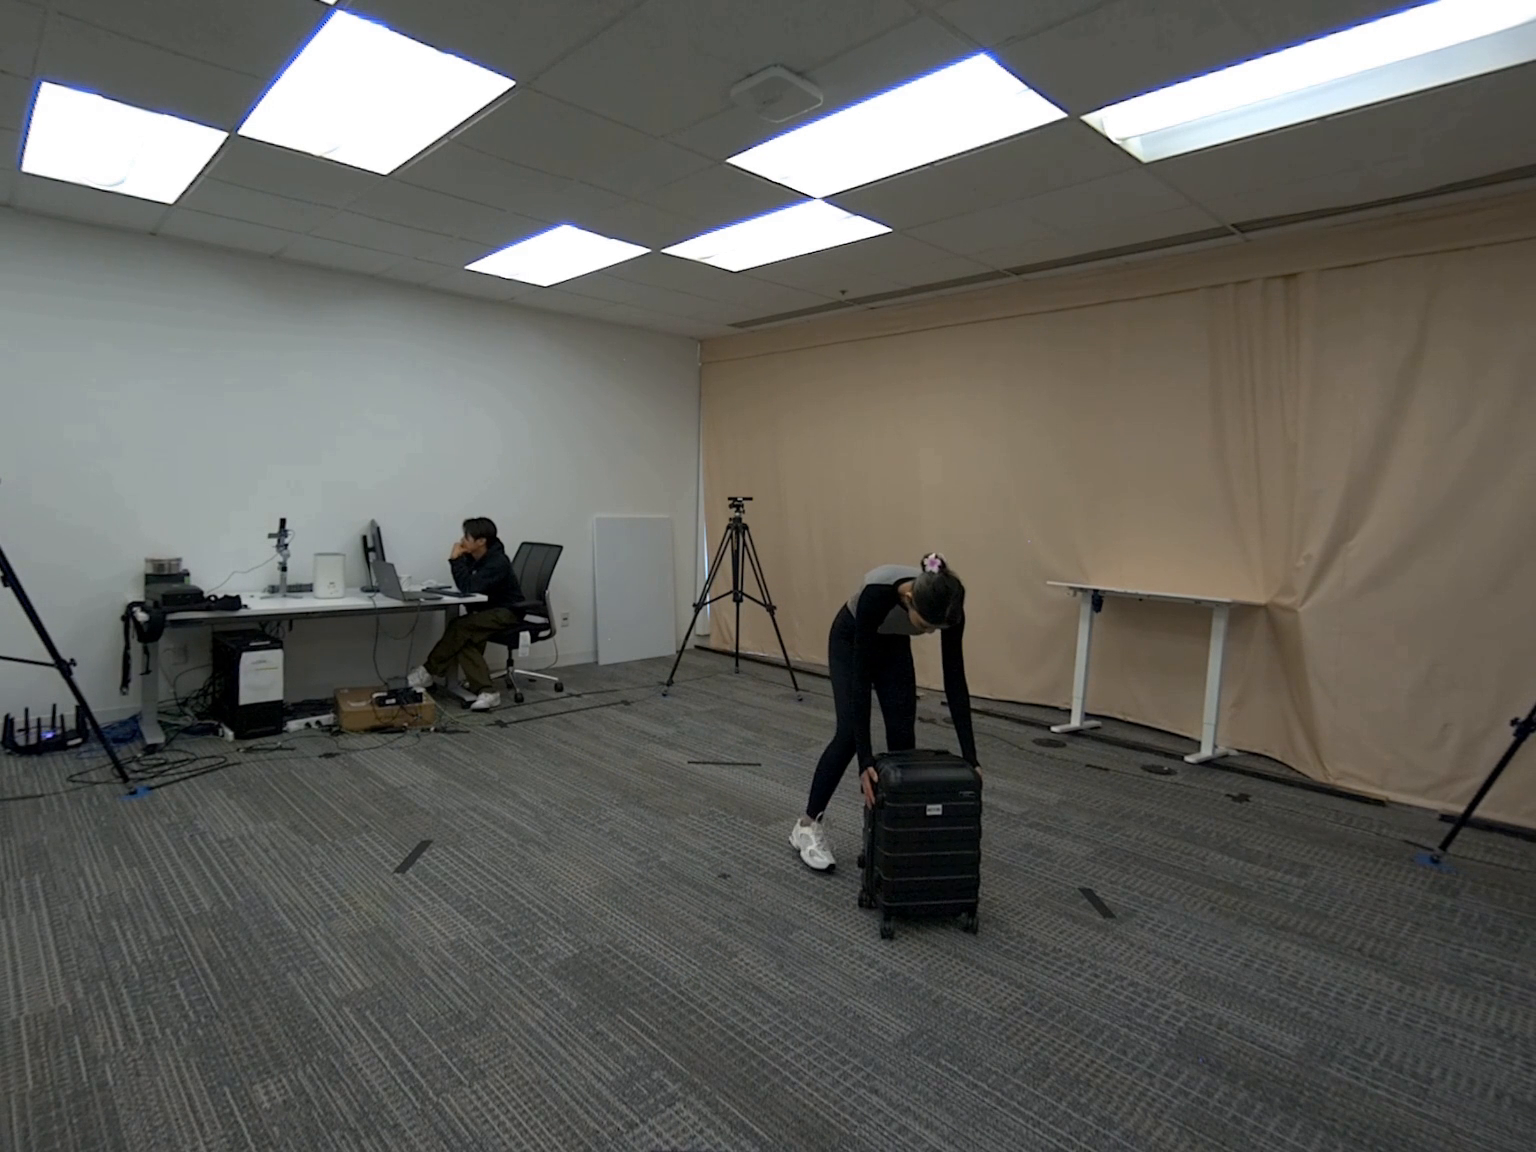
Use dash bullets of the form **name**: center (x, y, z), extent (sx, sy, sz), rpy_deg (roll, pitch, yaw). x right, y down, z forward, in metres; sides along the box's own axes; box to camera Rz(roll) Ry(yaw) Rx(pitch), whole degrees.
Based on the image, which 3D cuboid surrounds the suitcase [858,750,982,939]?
- **suitcase**: center (0.513, 0.873, 2.829), extent (0.372, 0.548, 0.251), rpy_deg (1, 2, -12)
